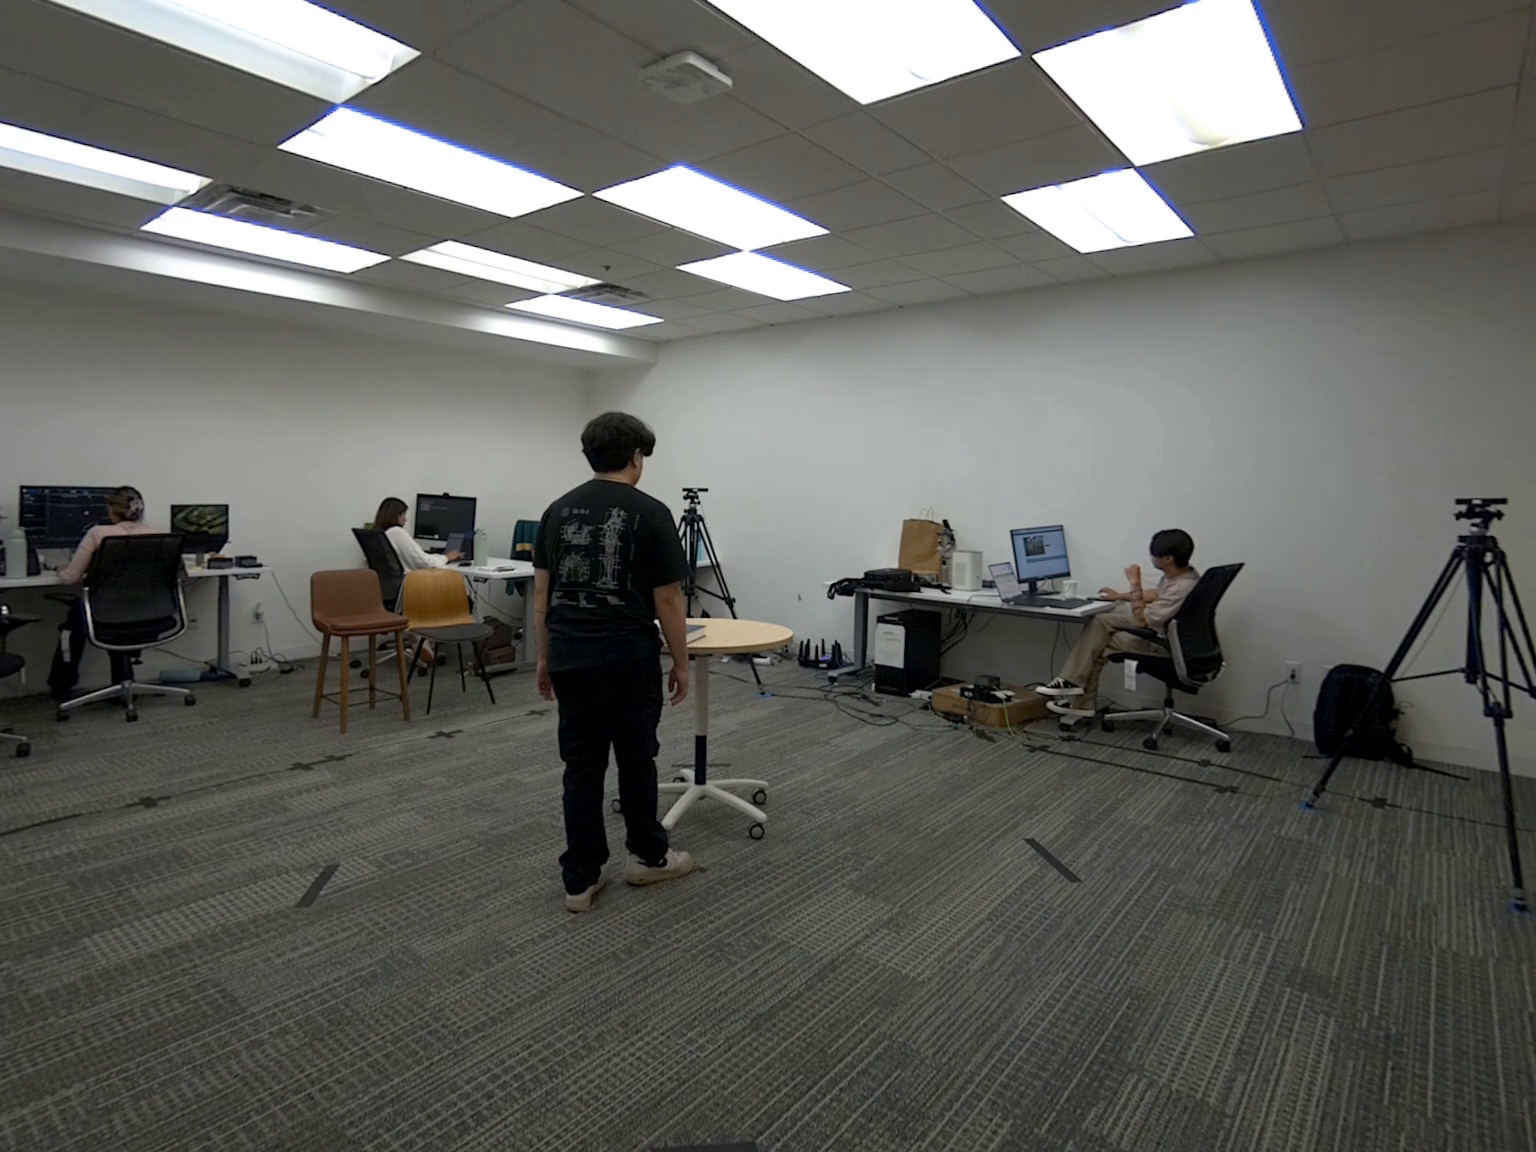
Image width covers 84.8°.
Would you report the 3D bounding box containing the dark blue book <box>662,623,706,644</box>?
[{"bbox_3d":[-0.375,0.227,3.377,0.167,0.045,0.241,3,5,19],"label":"dark blue book"}]
